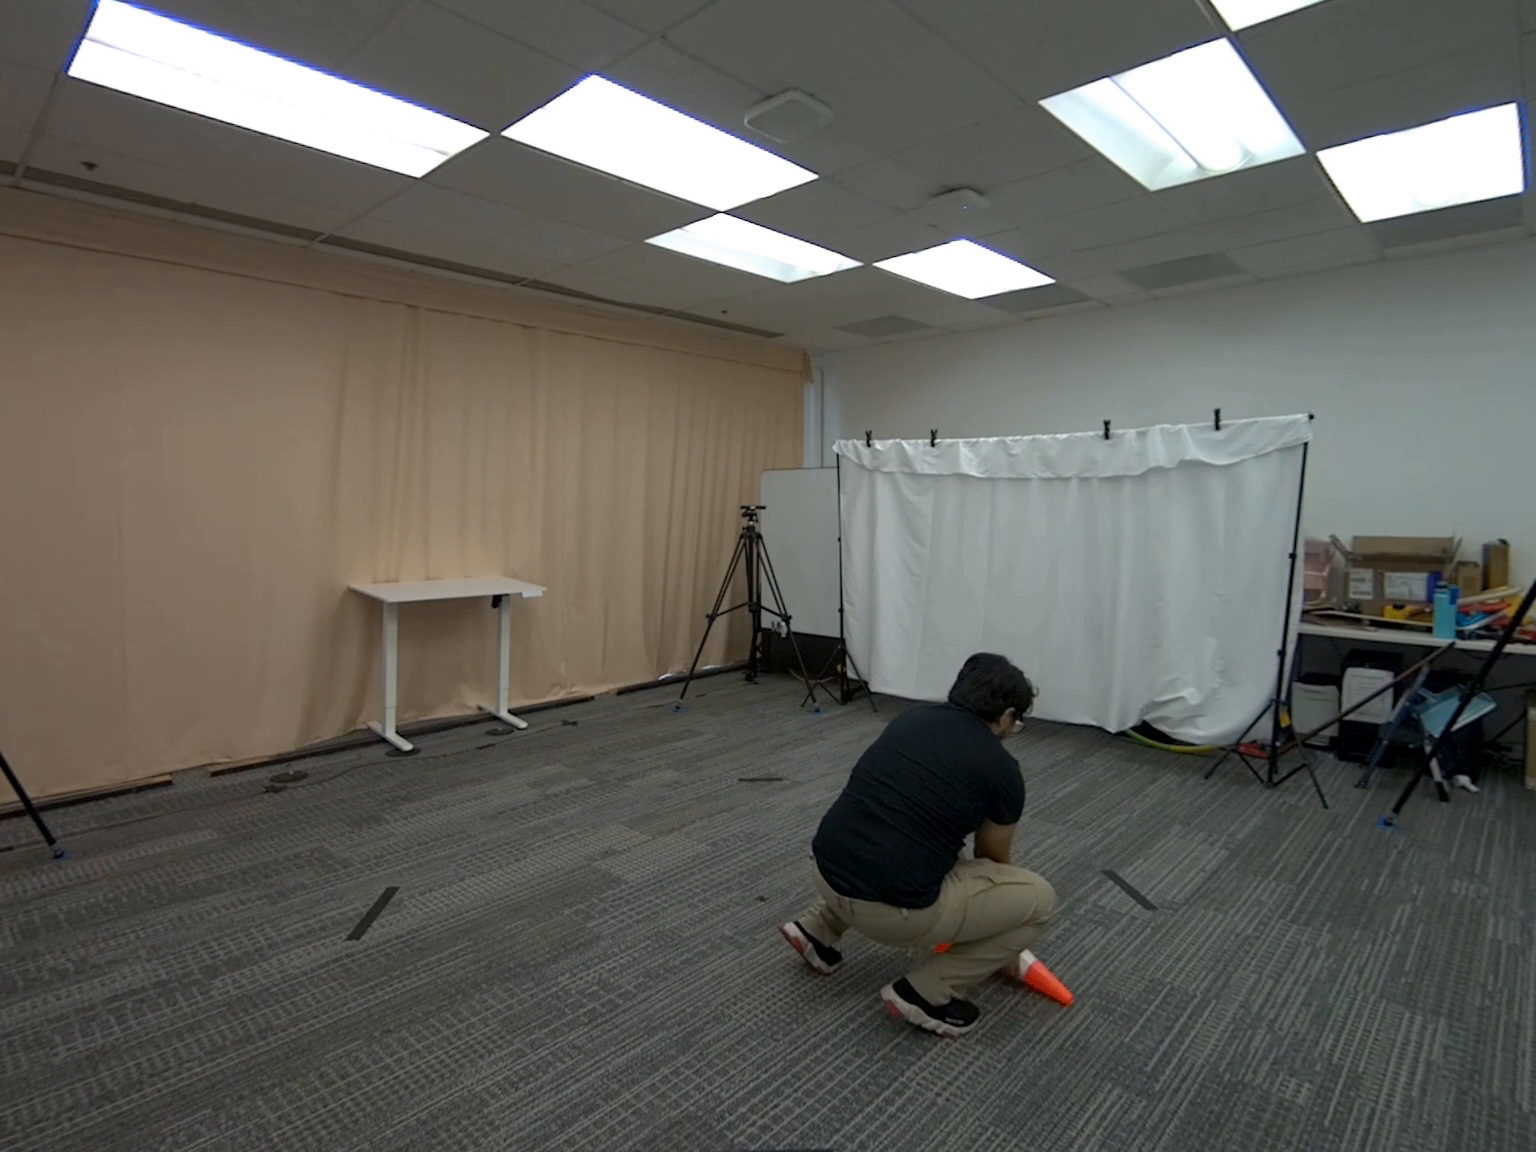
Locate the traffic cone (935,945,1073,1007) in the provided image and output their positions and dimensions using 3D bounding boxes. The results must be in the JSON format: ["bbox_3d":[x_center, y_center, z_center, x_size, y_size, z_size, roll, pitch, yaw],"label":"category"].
[{"bbox_3d":[0.733,1.137,2.477,0.197,0.203,0.398,-3,19,-37],"label":"traffic cone"}]
